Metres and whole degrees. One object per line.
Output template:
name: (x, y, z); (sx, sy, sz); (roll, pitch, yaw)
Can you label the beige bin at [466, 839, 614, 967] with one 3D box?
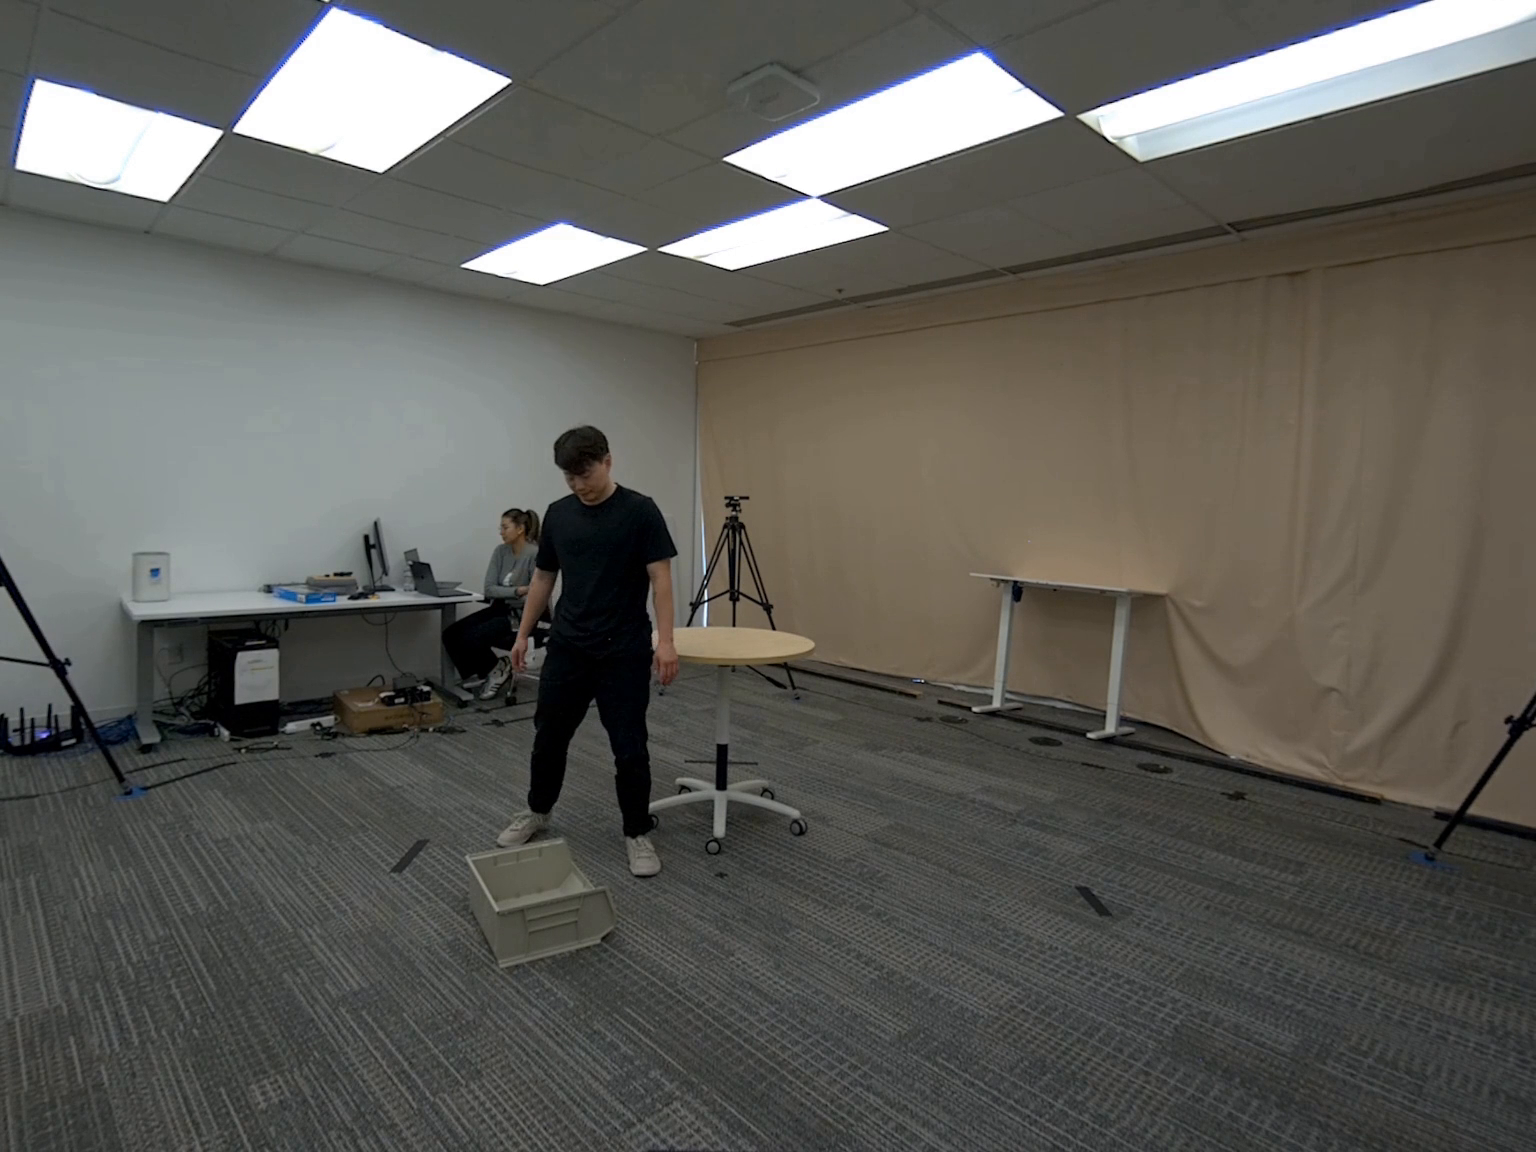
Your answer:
beige bin: (-0.749, 1.041, 2.713); (0.370, 0.188, 0.432); (-3, 6, -31)
